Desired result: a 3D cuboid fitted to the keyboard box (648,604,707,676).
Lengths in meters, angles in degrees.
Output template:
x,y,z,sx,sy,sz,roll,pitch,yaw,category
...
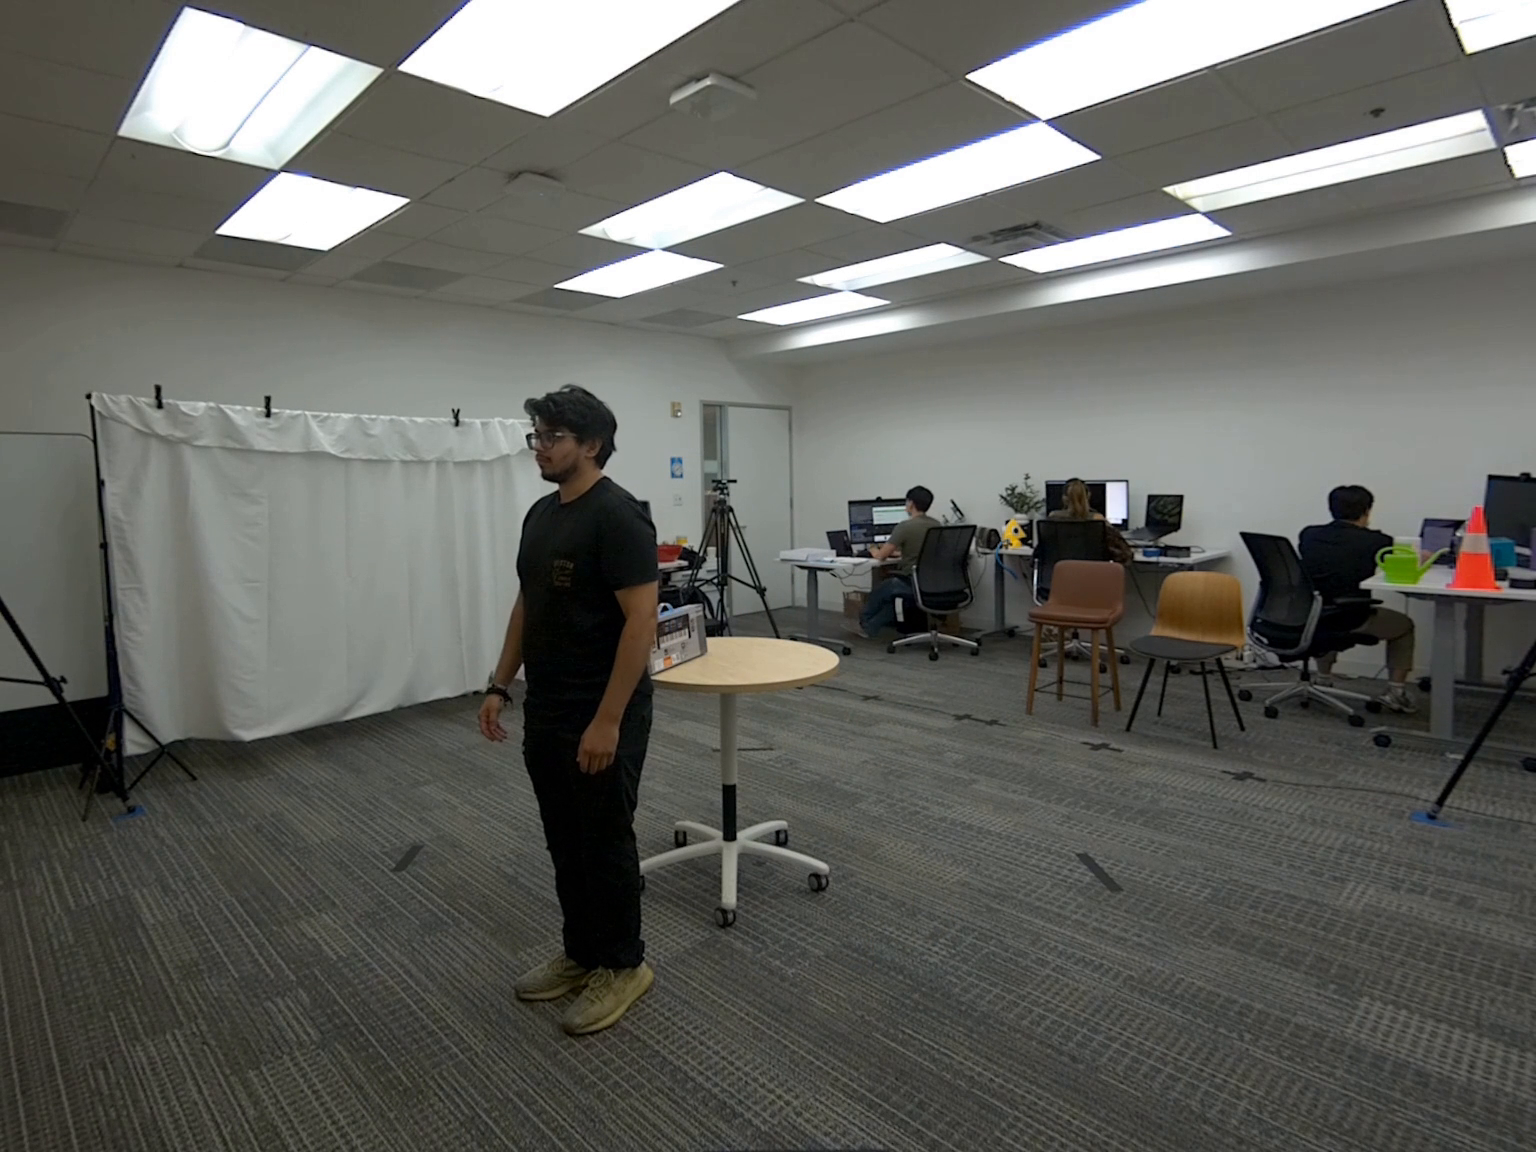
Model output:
x,y,z,sx,sy,sz,roll,pitch,yaw,category
-0.333,0.213,2.837,0.060,0.176,0.429,-6,3,24,keyboard box
